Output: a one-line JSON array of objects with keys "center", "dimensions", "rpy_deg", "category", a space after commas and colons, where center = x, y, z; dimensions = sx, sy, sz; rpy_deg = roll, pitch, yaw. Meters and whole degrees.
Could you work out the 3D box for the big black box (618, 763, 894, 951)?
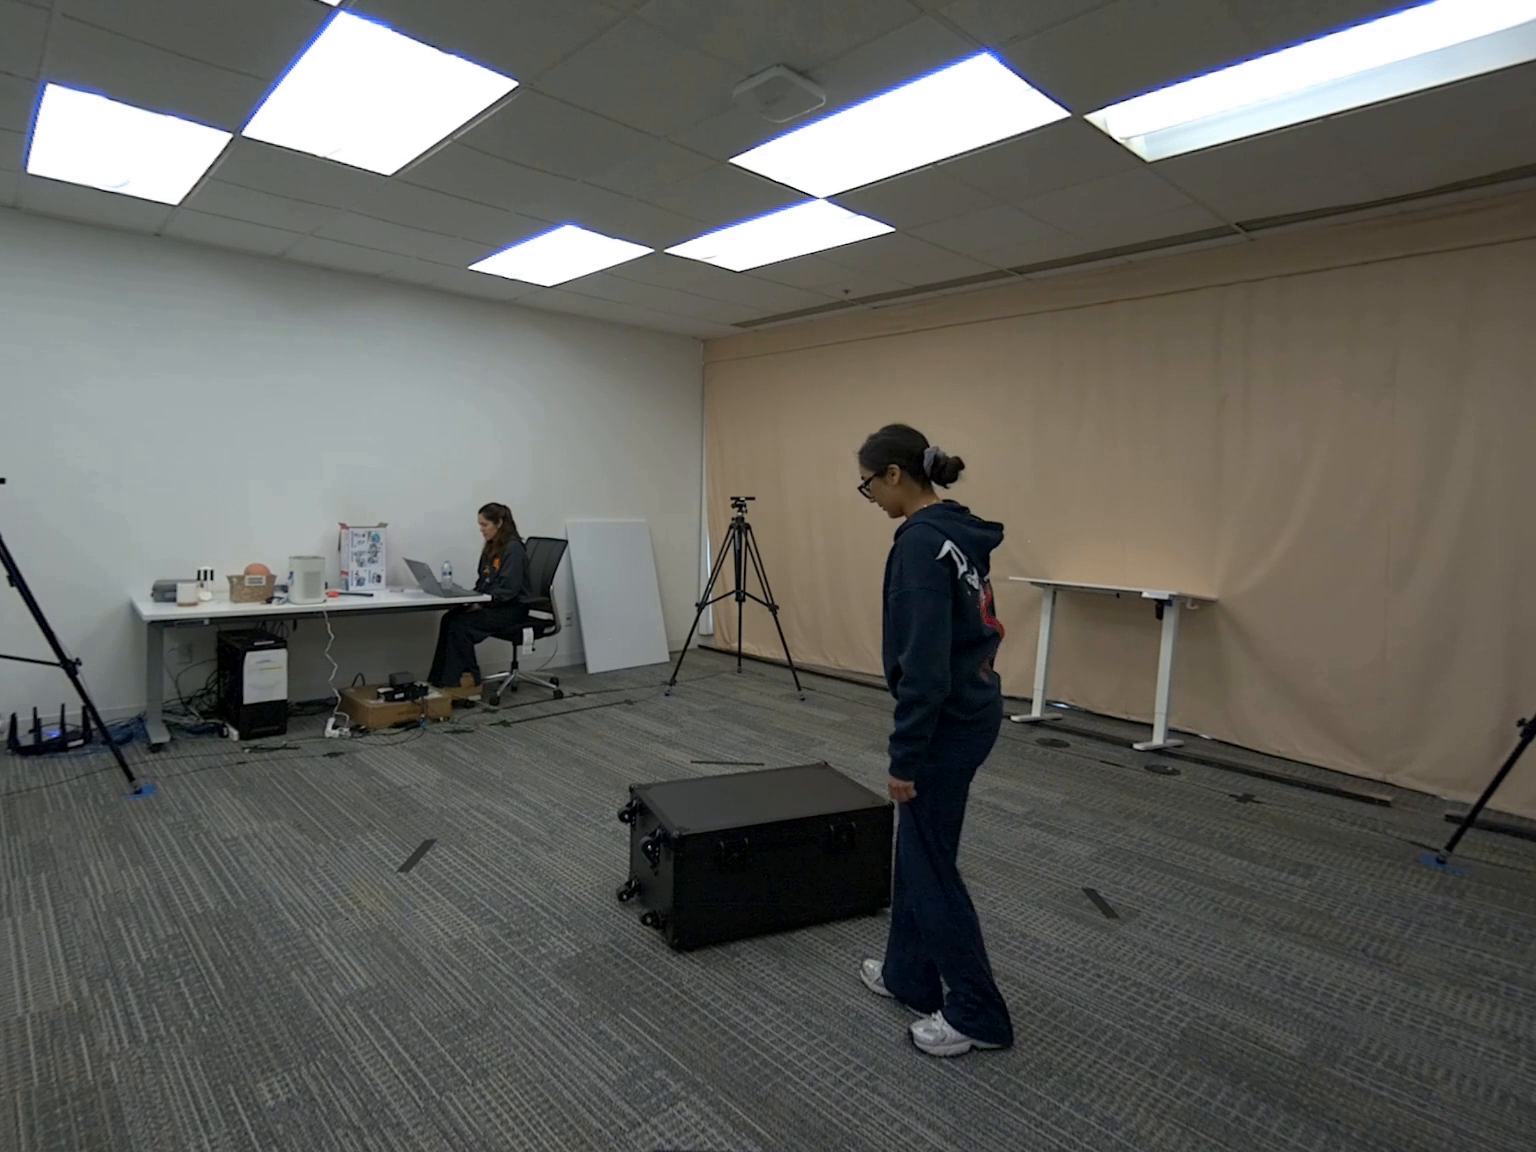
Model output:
[{"center": [-0.065, 0.958, 2.878], "dimensions": [0.845, 0.520, 0.404], "rpy_deg": [-1, 3, -26], "category": "big black box"}]
